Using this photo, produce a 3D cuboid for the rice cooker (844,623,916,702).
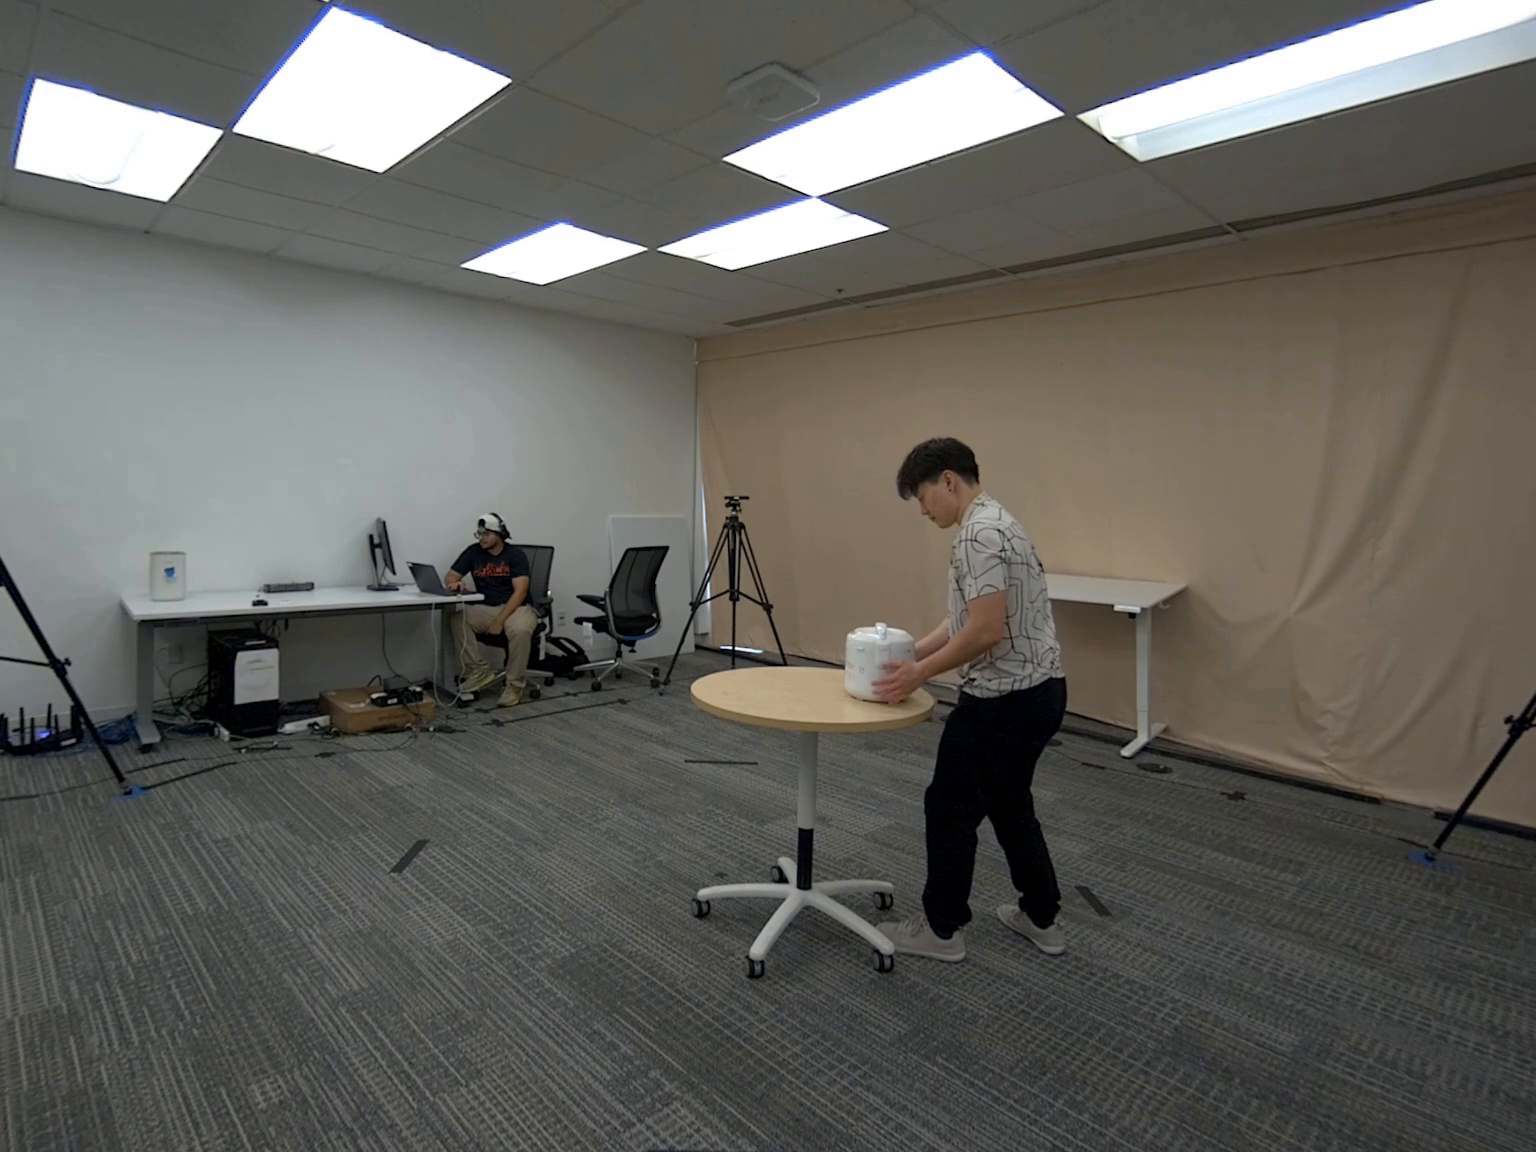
[{"bbox_3d":[0.348,0.263,2.626,0.218,0.232,0.220,2,4,5],"label":"rice cooker"}]
